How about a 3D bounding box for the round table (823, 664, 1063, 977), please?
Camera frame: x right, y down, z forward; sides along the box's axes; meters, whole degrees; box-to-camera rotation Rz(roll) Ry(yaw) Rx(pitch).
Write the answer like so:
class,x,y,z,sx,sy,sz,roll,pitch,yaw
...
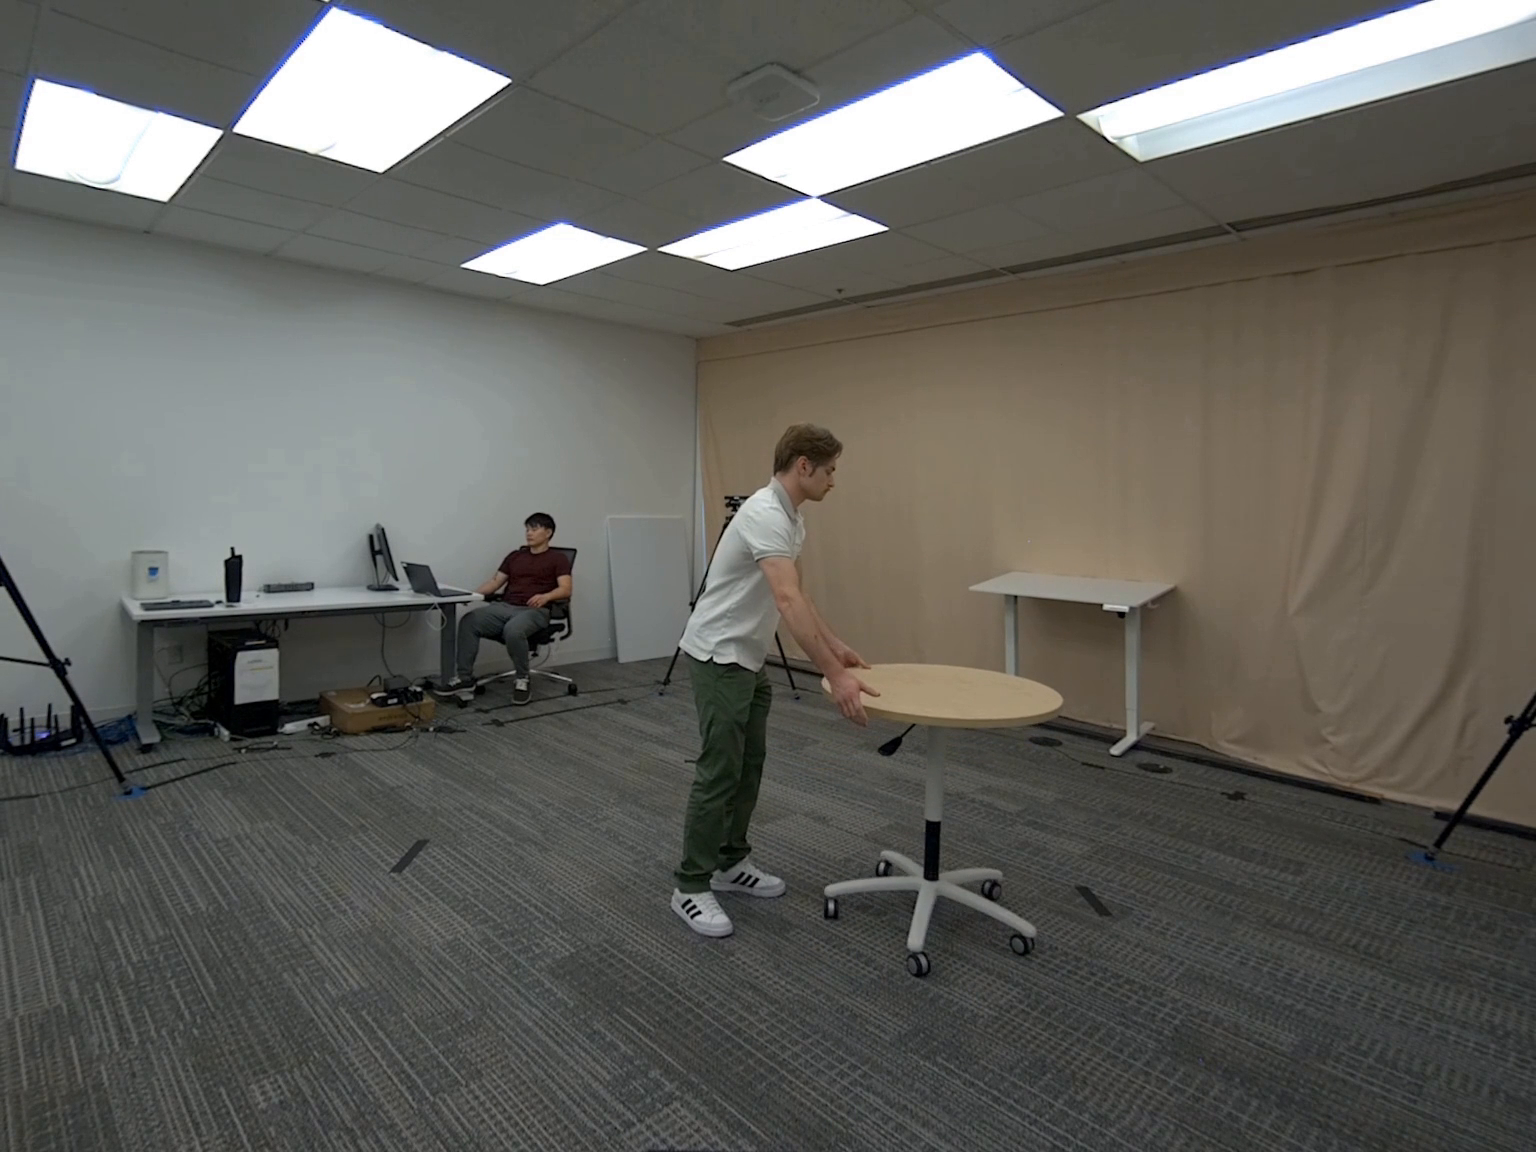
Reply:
class,x,y,z,sx,sy,sz,roll,pitch,yaw
round table,0.543,0.761,2.779,0.763,0.792,0.767,1,4,-1
